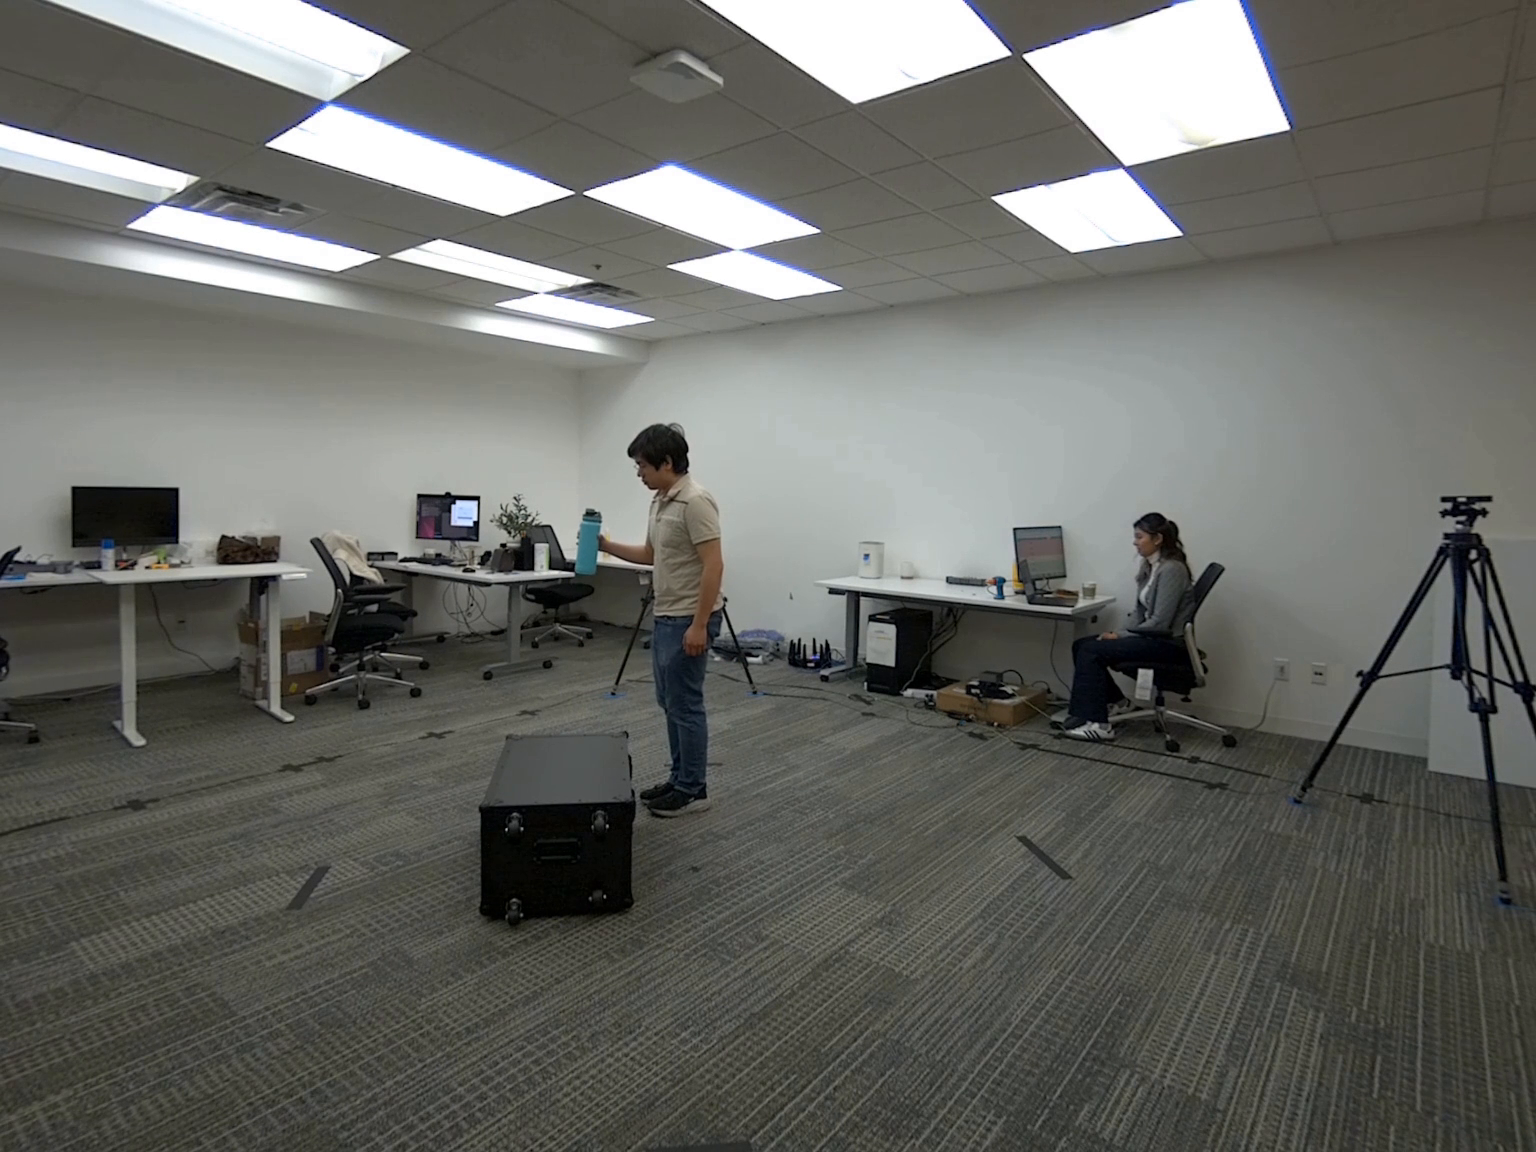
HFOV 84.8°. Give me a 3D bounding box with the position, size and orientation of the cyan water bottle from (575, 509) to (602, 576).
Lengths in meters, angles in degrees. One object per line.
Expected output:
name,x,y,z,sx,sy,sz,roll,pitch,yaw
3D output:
cyan water bottle,-0.796,-0.159,3.714,0.092,0.283,0.092,6,1,-2
